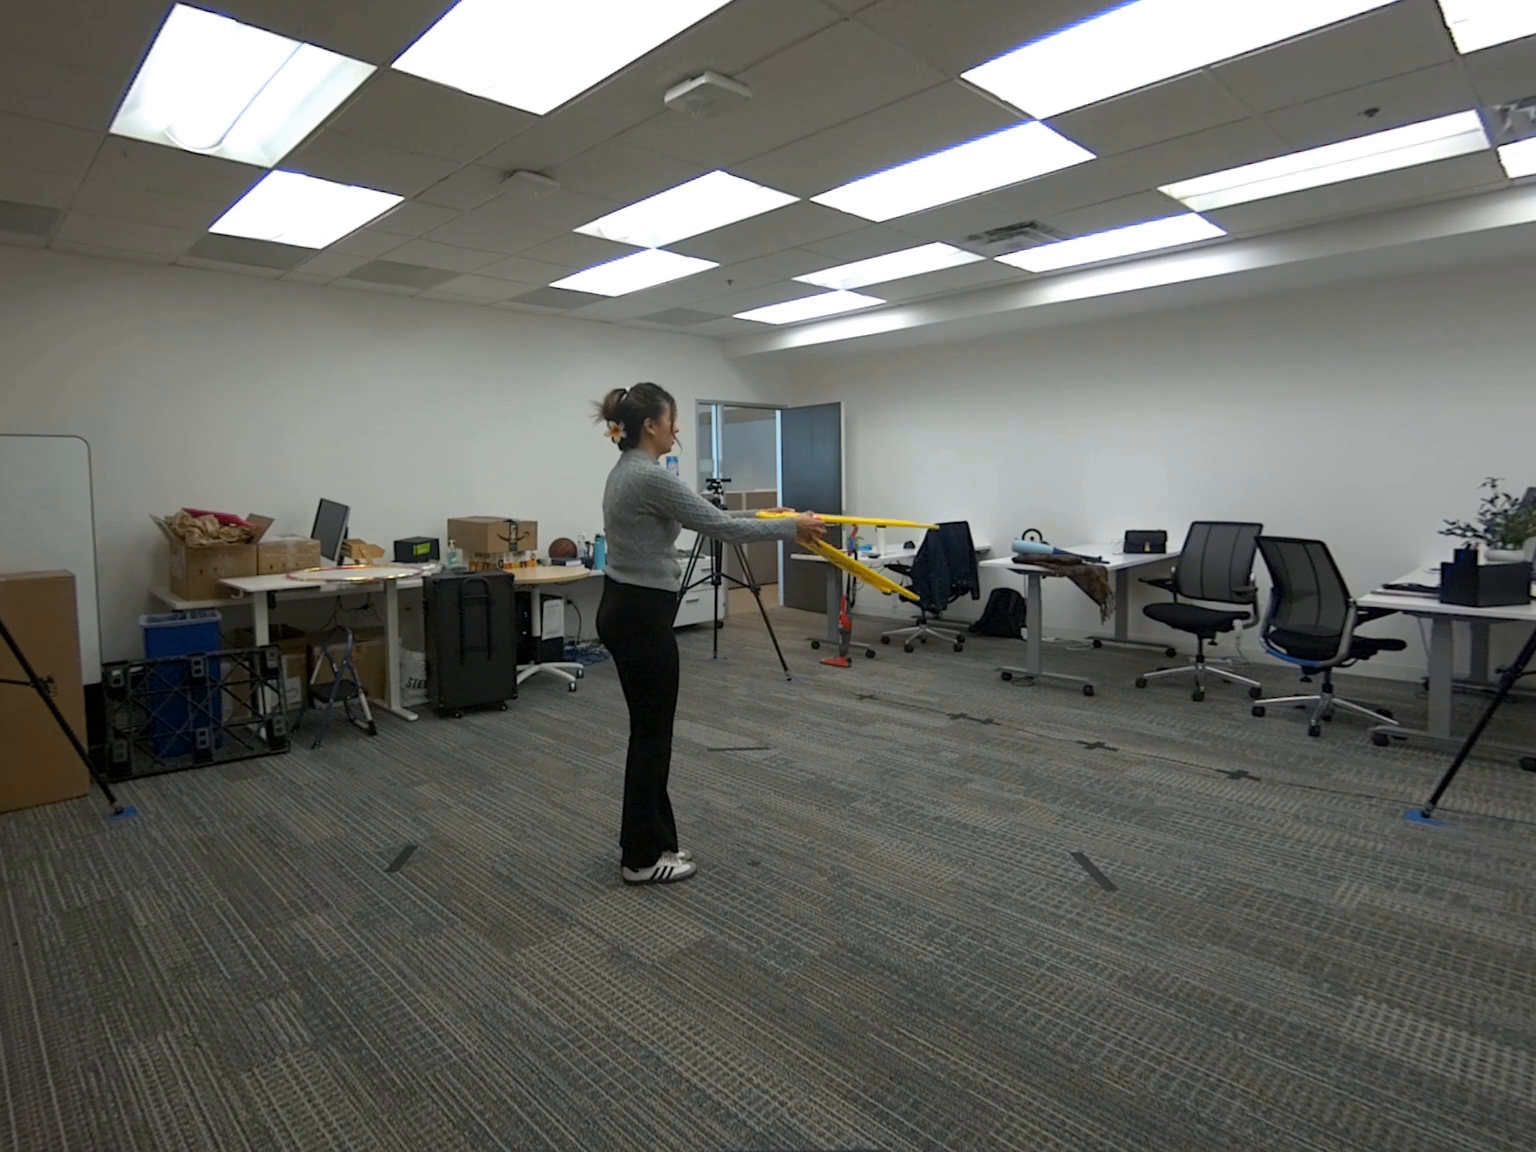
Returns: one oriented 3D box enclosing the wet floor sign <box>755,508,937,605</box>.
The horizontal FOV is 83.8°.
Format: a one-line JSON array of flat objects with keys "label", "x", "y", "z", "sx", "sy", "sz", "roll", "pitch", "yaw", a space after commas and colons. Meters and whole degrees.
[{"label": "wet floor sign", "x": 0.270, "y": -0.141, "z": 3.224, "sx": 0.630, "sy": 0.290, "sz": 0.289, "roll": 16, "pitch": -2, "yaw": -23}]
